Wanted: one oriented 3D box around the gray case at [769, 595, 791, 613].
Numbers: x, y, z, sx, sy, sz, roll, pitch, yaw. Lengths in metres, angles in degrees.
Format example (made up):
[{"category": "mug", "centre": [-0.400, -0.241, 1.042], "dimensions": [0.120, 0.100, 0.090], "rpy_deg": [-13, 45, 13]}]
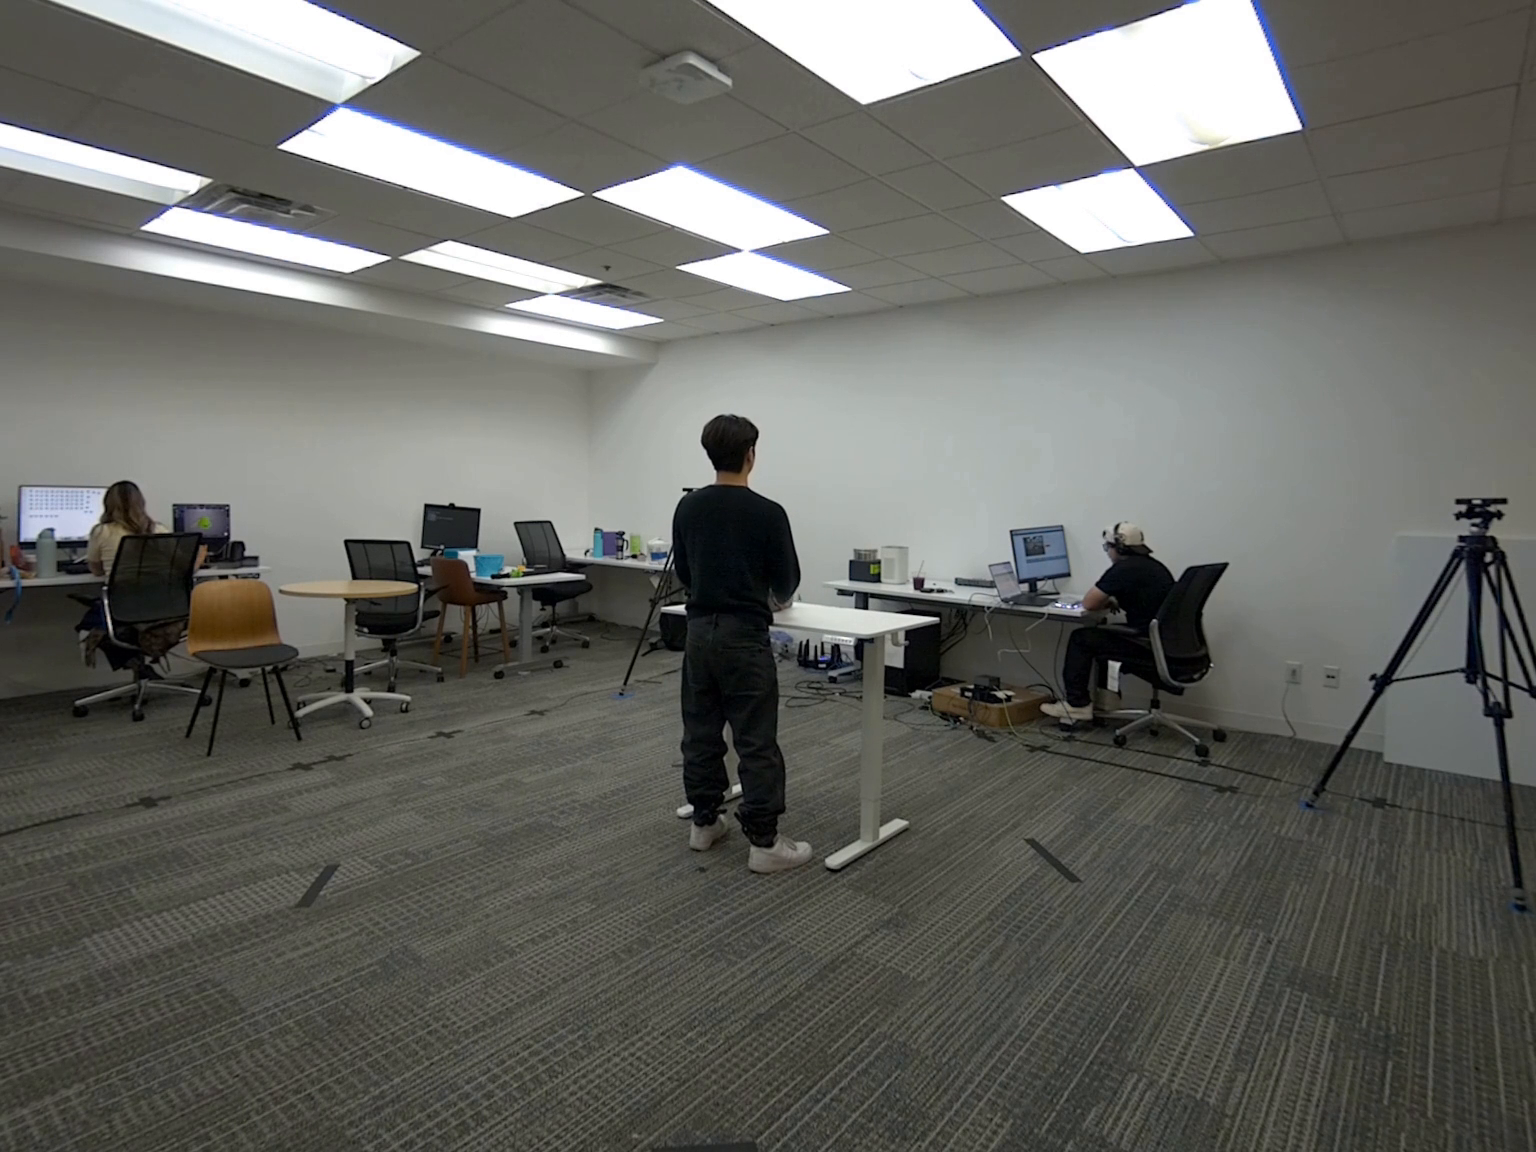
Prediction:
[{"category": "gray case", "centre": [-0.039, 0.083, 3.692], "dimensions": [0.264, 0.104, 0.254], "rpy_deg": [4, 6, 28]}]
